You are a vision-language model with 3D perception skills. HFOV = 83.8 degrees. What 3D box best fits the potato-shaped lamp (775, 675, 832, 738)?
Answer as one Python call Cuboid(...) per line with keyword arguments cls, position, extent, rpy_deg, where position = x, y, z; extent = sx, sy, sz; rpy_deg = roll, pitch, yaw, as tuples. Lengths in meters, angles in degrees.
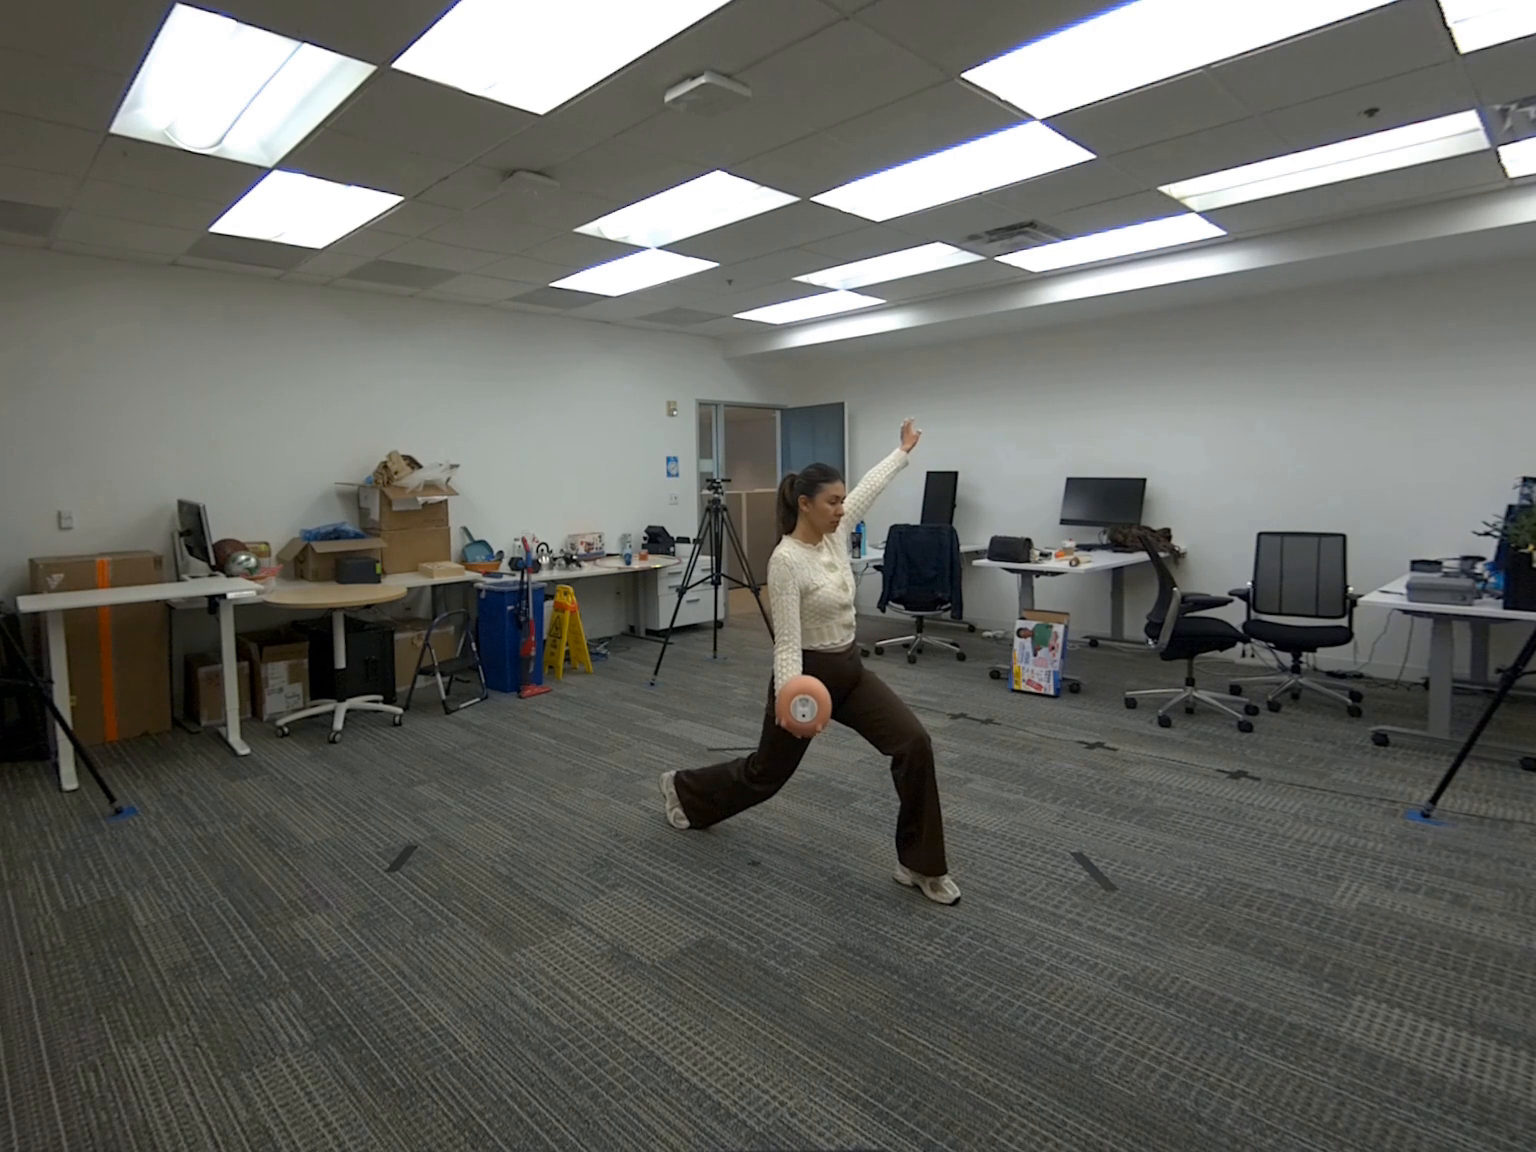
Cuboid(cls="potato-shaped lamp", position=(0.110, 0.389, 2.540), extent=(0.165, 0.172, 0.196), rpy_deg=(10, -8, 1))
